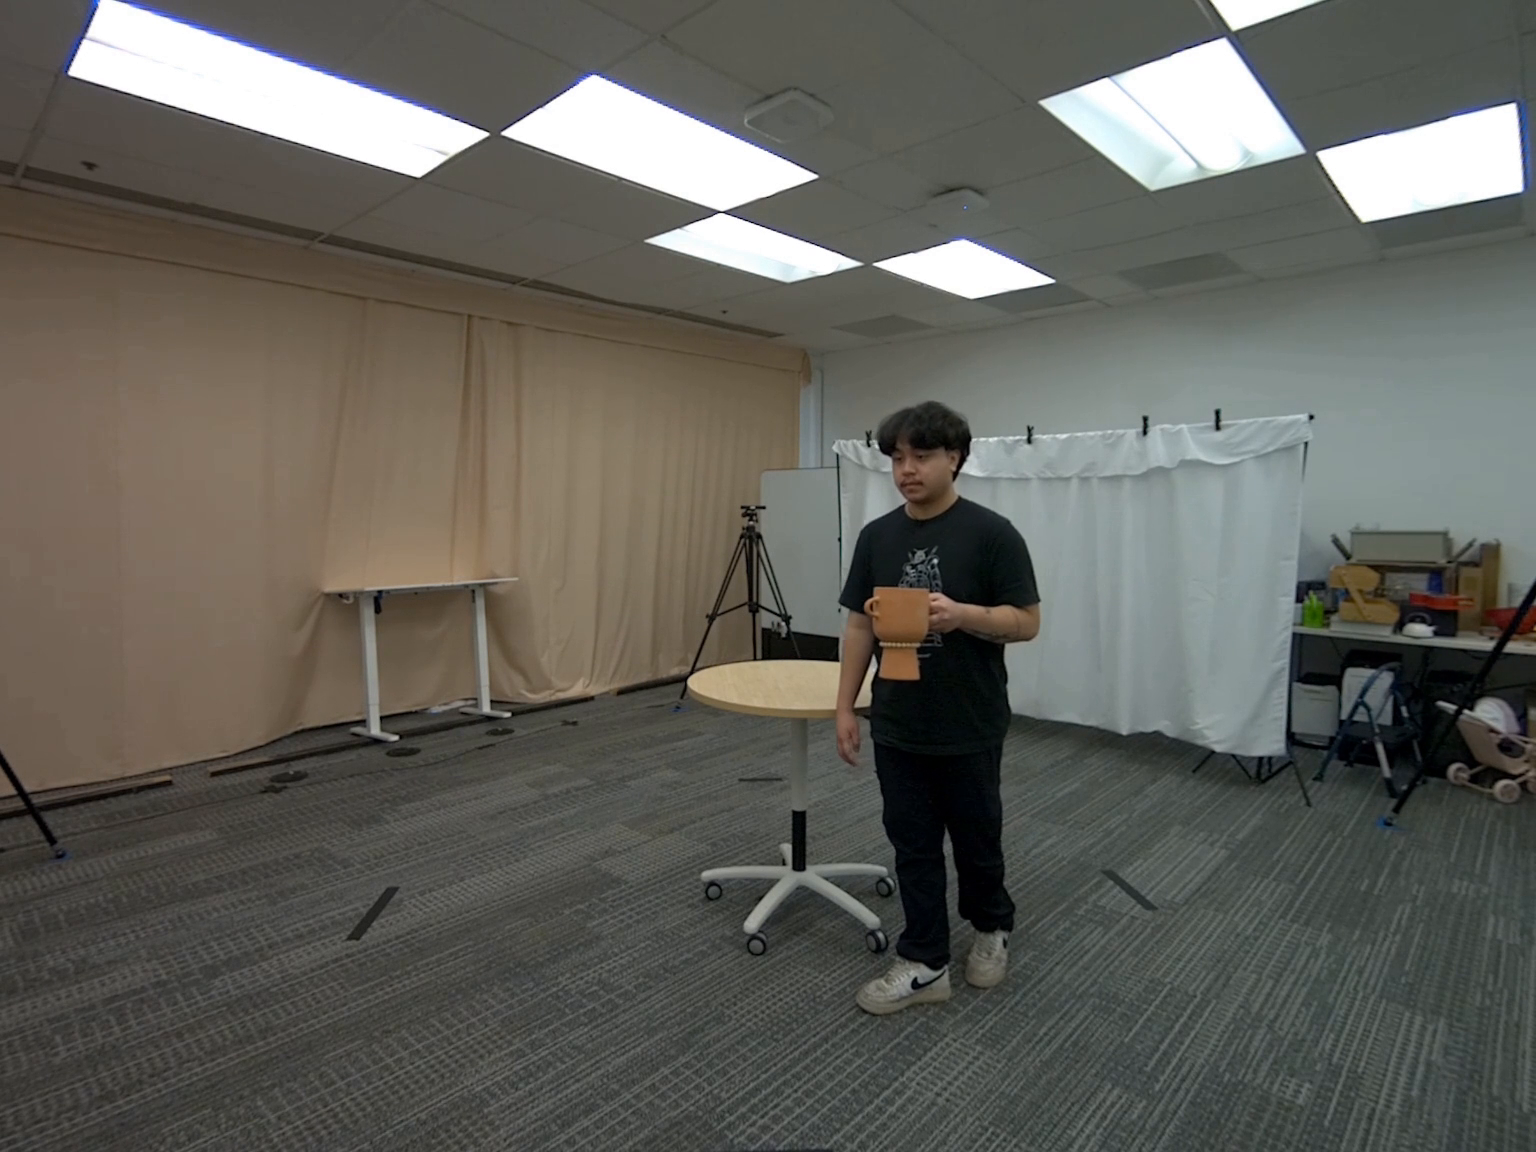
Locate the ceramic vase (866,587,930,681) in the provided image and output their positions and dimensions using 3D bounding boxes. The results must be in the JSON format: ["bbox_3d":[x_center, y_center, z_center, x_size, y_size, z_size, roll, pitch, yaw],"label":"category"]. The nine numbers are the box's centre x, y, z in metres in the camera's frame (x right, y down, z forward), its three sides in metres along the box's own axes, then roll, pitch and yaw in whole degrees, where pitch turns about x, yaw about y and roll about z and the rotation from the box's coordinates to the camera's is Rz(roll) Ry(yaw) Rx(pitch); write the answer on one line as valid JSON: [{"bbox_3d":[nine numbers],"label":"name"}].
[{"bbox_3d":[0.338,0.144,2.080,0.162,0.220,0.132,0,-2,17],"label":"ceramic vase"}]
